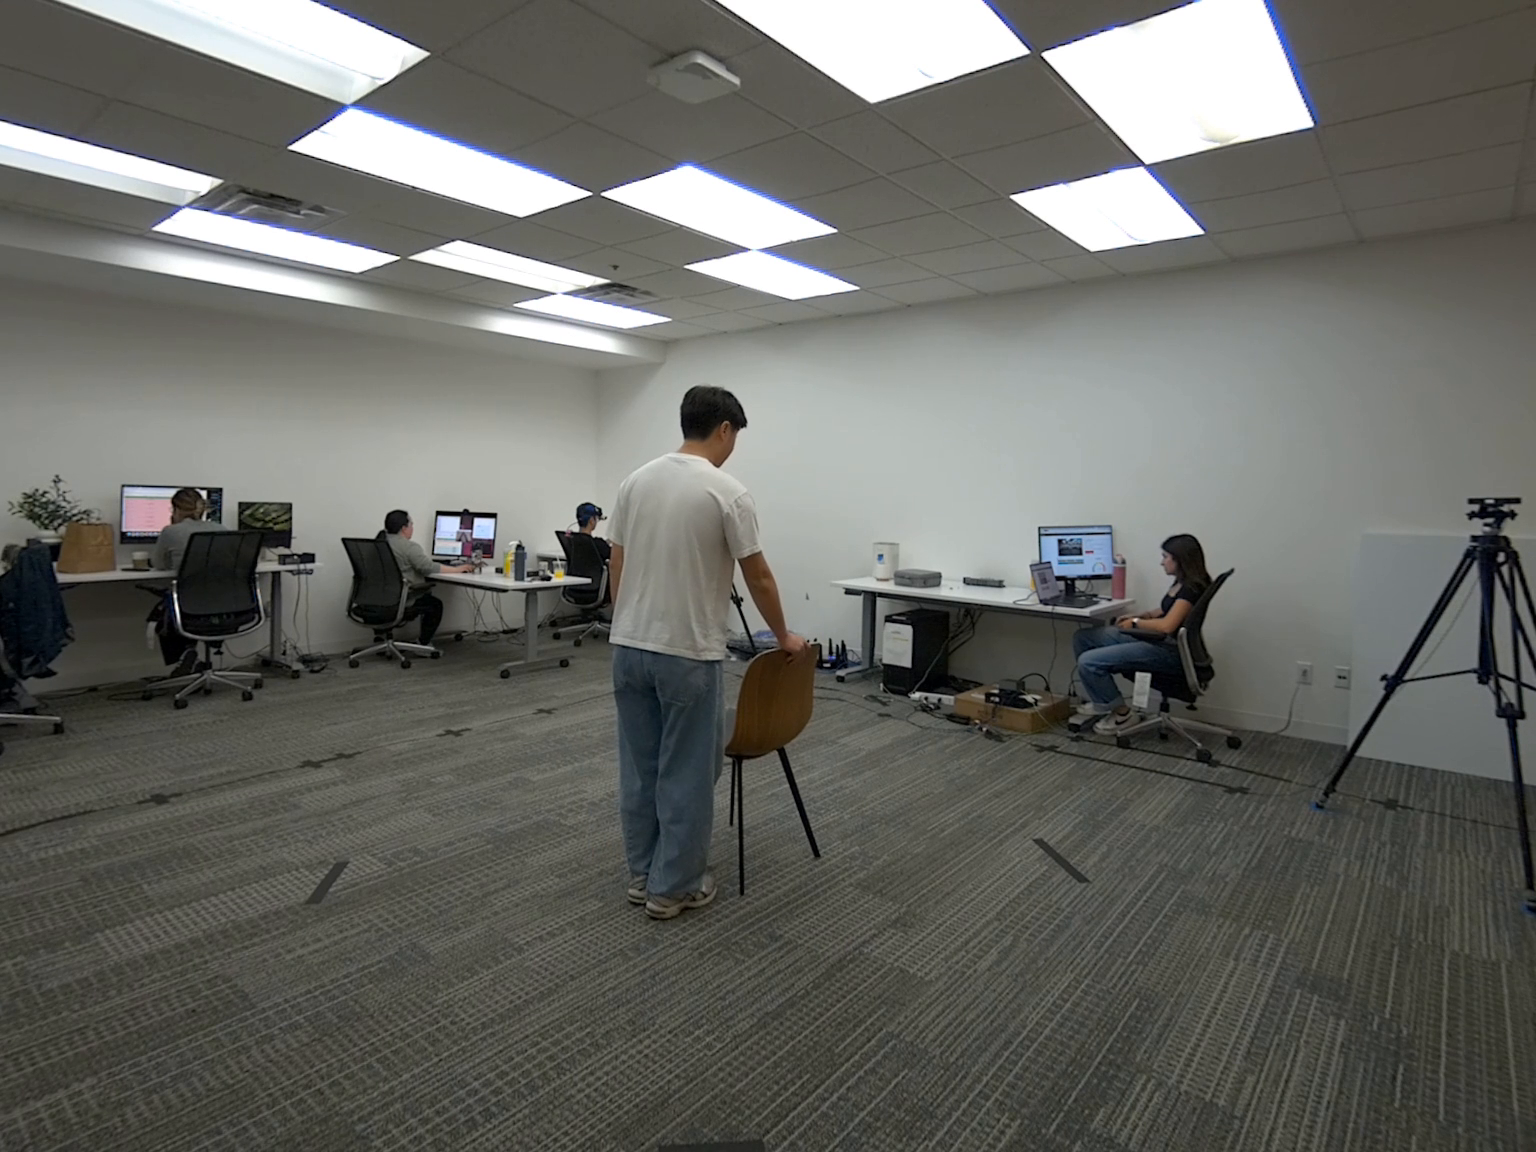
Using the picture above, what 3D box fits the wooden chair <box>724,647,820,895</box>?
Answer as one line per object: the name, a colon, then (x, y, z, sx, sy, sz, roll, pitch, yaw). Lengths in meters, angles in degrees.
wooden chair: (-0.121, 0.633, 3.195, 0.542, 0.873, 0.463, 10, 8, 41)
